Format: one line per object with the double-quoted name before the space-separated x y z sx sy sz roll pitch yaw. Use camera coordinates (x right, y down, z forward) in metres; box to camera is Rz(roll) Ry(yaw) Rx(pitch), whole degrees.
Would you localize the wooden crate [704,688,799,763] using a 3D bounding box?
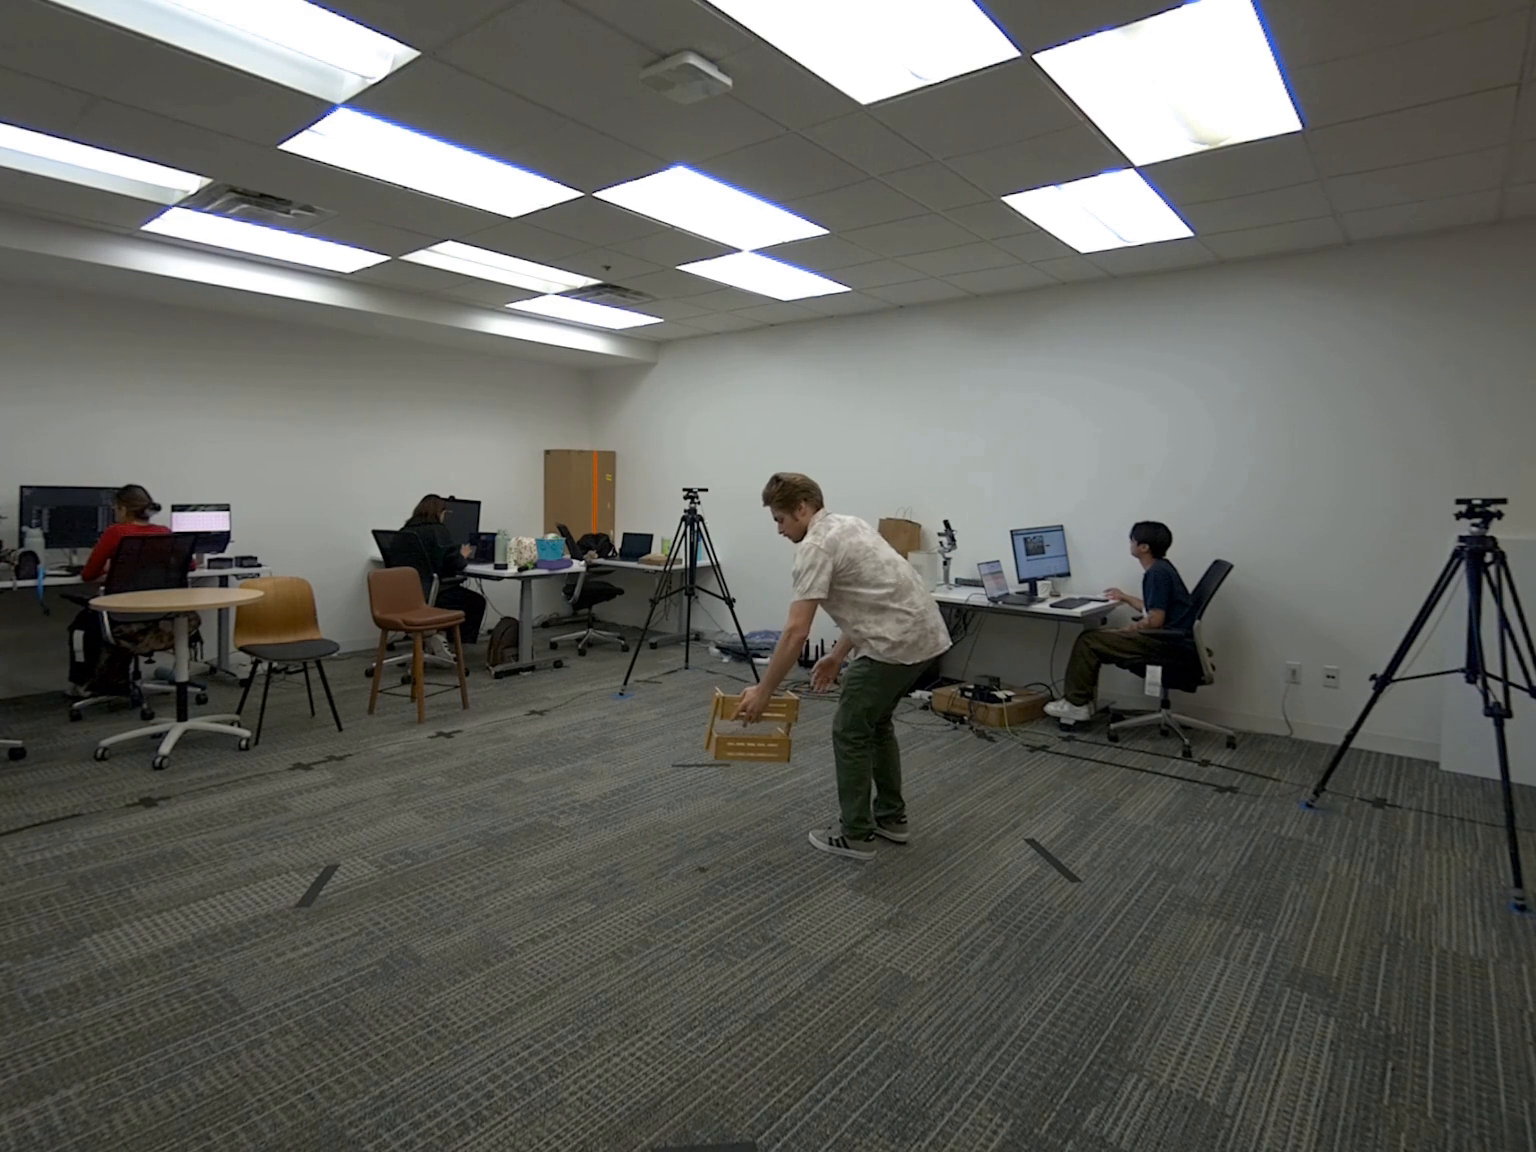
"wooden crate" -0.082 0.563 3.369 0.320 0.273 0.307 4 3 -14
